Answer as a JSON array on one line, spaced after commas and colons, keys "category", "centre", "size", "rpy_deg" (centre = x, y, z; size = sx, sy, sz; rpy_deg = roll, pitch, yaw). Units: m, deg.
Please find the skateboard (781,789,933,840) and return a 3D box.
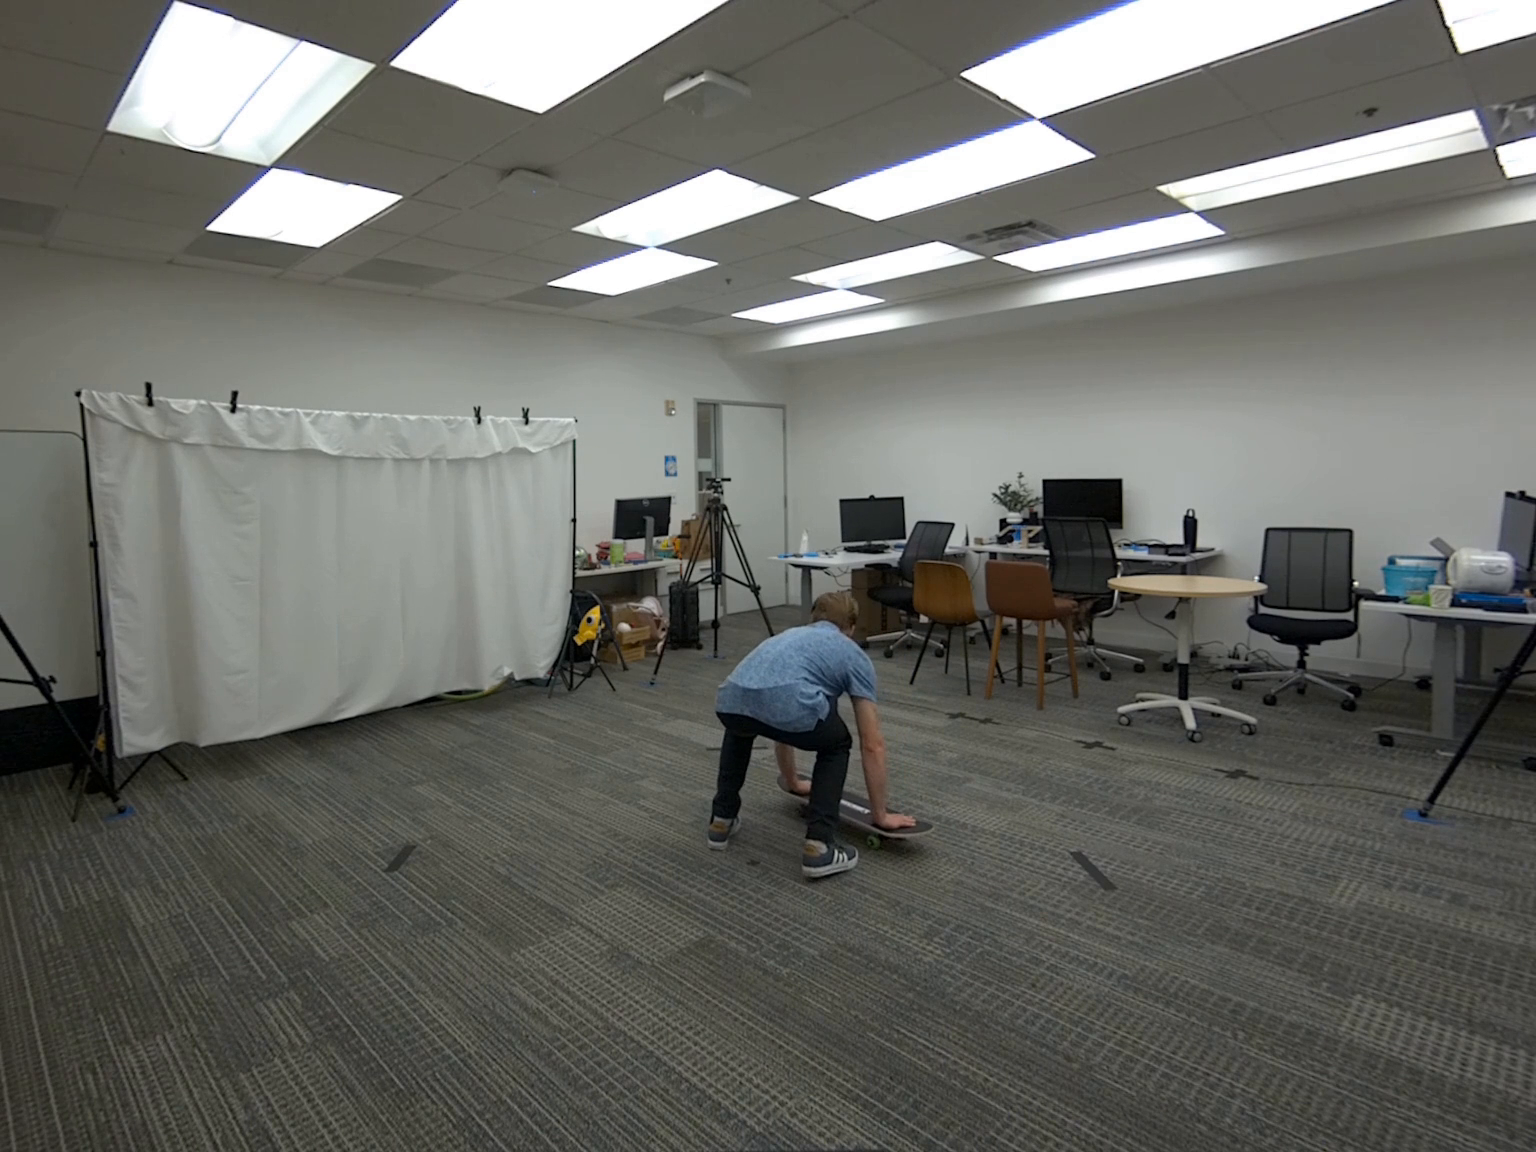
[{"category": "skateboard", "centre": [0.326, 0.944, 3.410], "size": [0.188, 0.110, 0.809], "rpy_deg": [-3, 6, -38]}]
